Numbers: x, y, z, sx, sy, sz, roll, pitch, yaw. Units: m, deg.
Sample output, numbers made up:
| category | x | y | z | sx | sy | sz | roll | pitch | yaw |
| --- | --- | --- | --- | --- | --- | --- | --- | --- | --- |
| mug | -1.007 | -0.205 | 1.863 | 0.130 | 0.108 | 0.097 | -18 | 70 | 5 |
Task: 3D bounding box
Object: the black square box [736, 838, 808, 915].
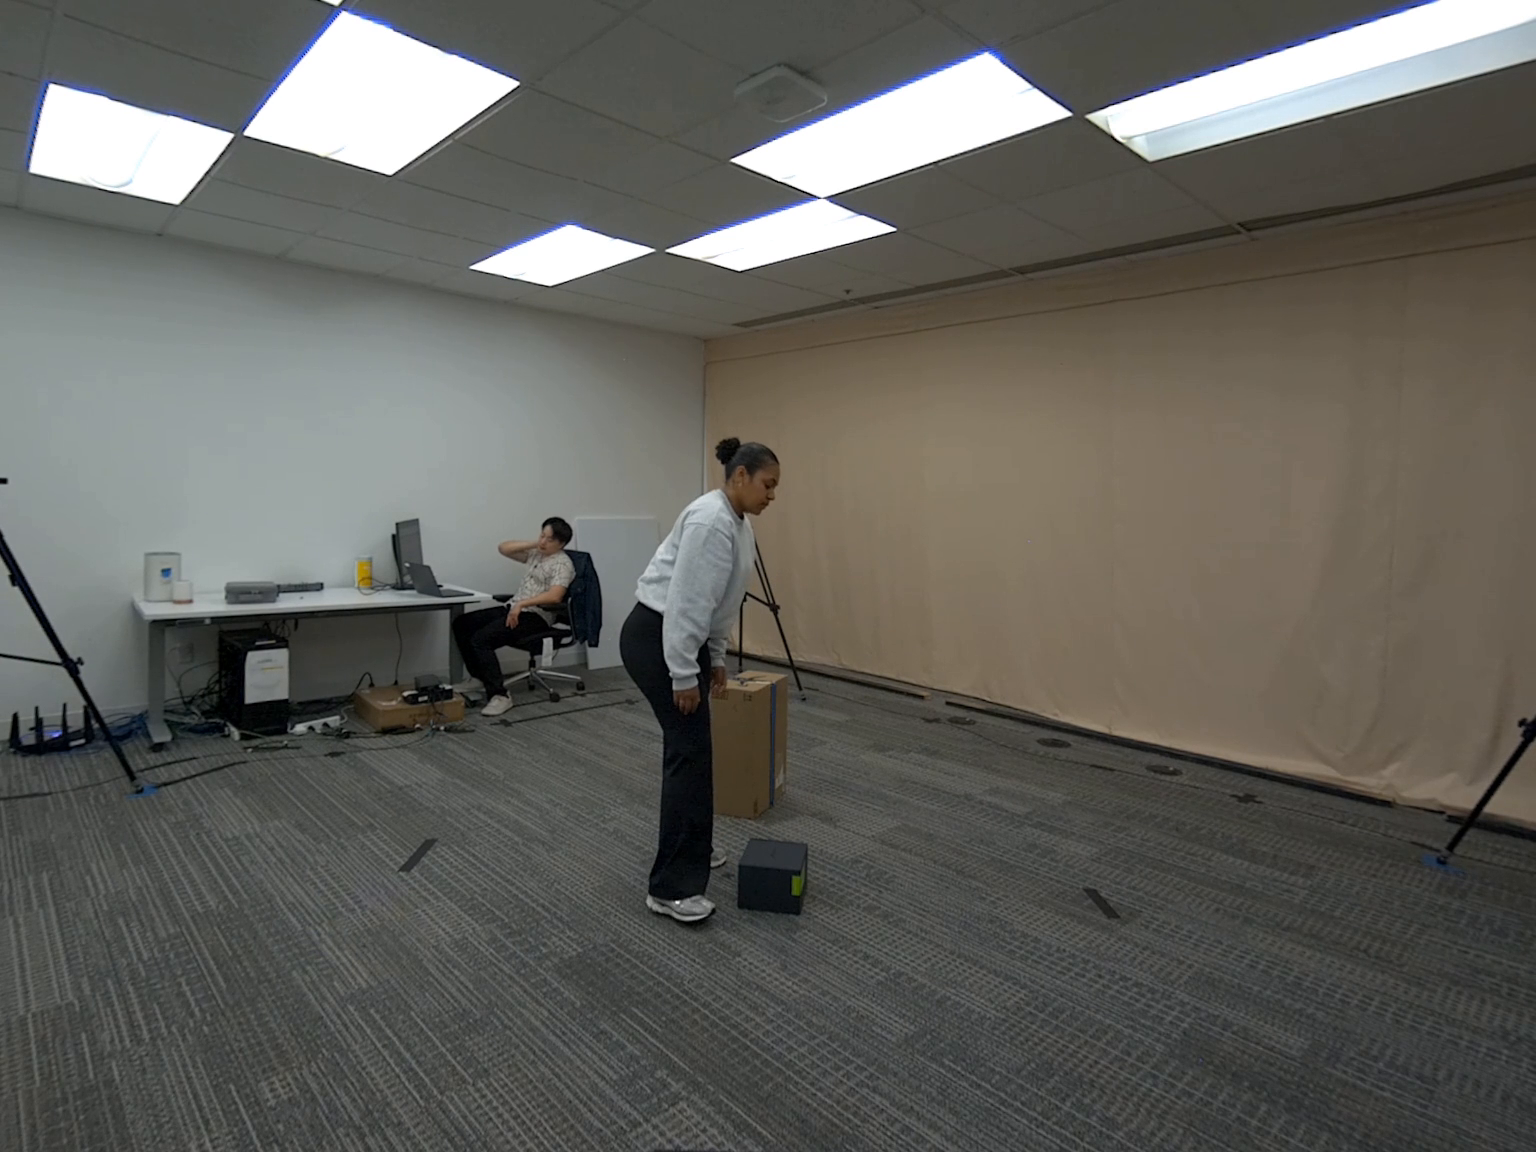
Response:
| category | x | y | z | sx | sy | sz | roll | pitch | yaw |
| --- | --- | --- | --- | --- | --- | --- | --- | --- | --- |
| black square box | 0.006 | 1.043 | 2.932 | 0.219 | 0.155 | 0.227 | 2 | 6 | 10 |
